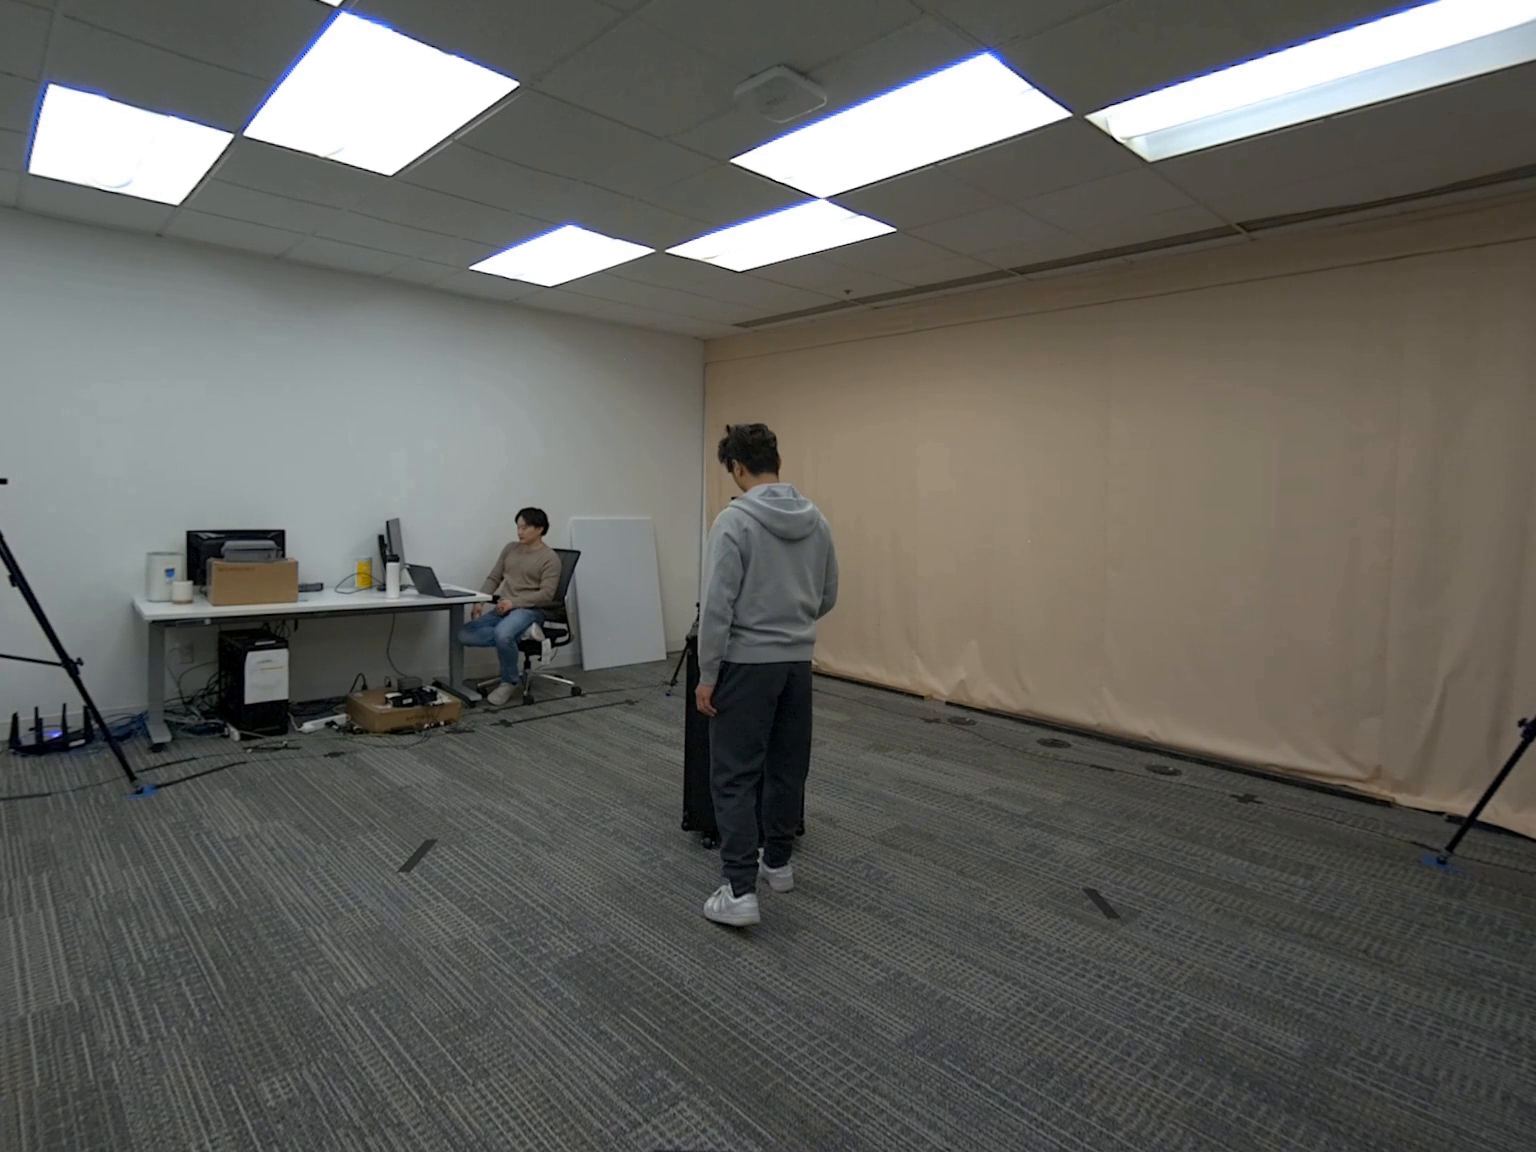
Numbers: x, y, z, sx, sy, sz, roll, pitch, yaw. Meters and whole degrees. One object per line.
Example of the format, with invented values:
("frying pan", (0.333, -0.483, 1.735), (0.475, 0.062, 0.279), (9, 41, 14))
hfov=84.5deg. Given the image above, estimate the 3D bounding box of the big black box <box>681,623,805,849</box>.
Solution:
("big black box", (-0.094, 0.658, 3.480), (0.522, 0.859, 0.397), (2, 3, 1))
